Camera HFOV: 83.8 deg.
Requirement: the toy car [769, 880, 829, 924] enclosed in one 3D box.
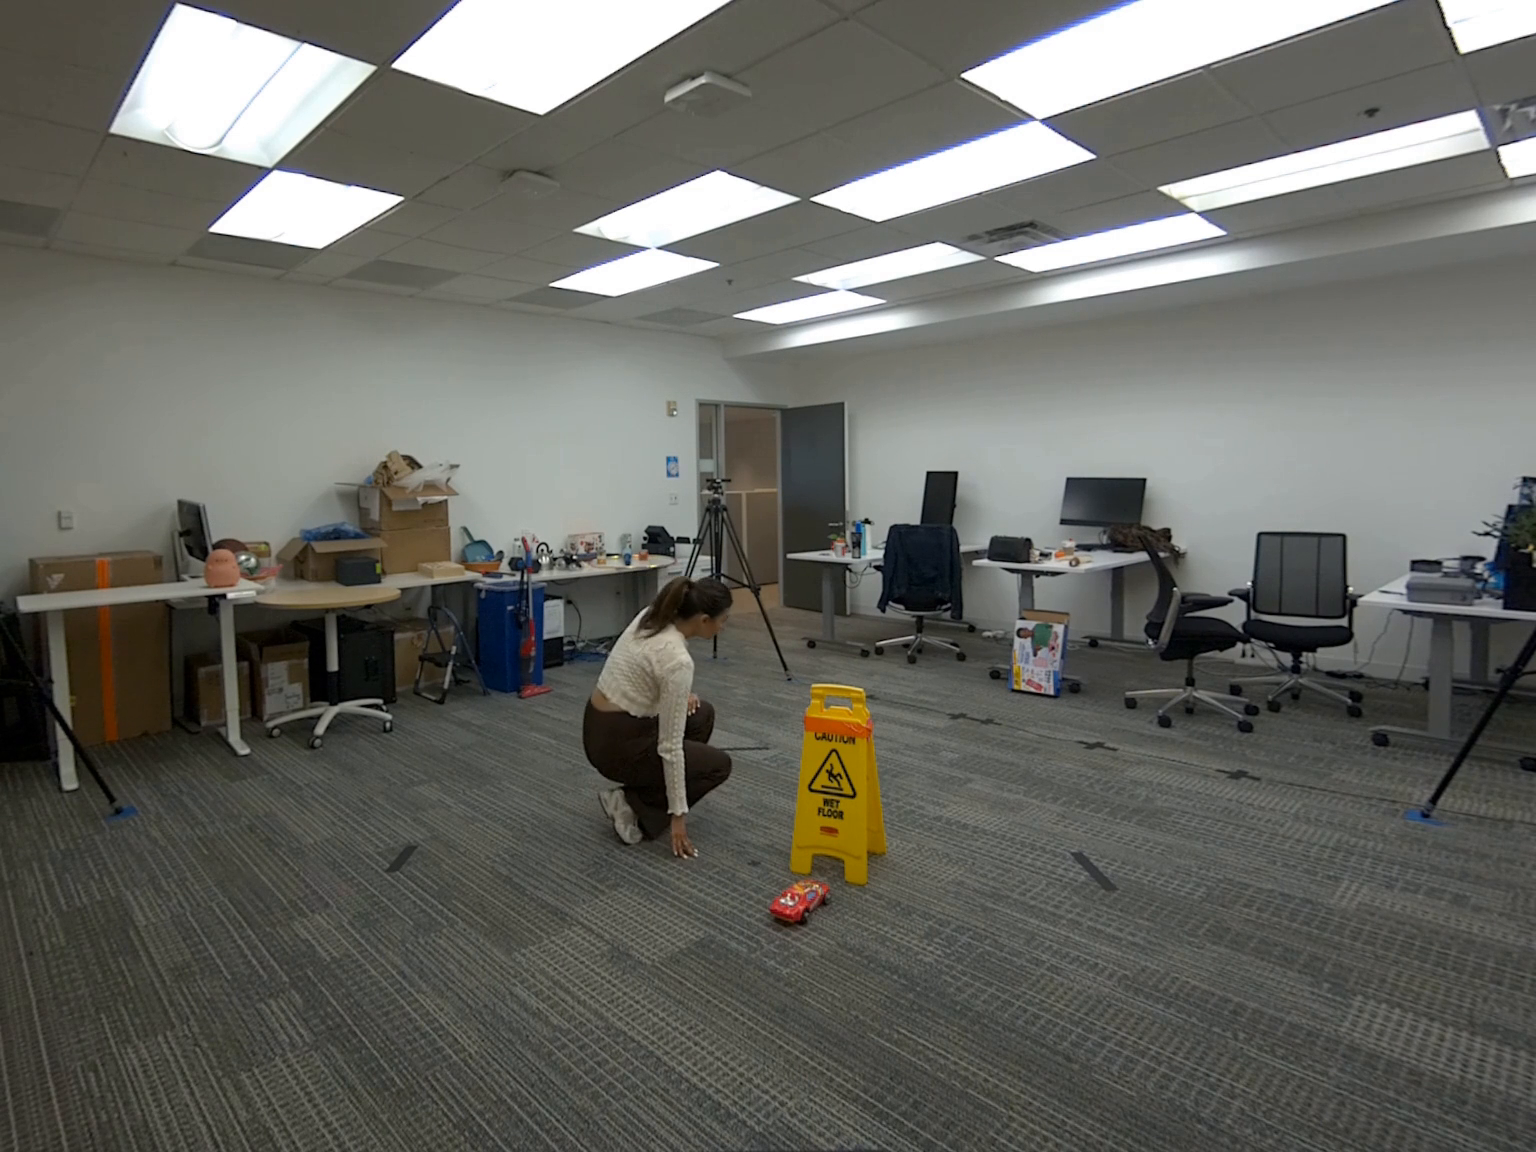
[{"bbox_3d":[0.101,1.054,2.749,0.134,0.083,0.246,4,-3,35],"label":"toy car"}]
